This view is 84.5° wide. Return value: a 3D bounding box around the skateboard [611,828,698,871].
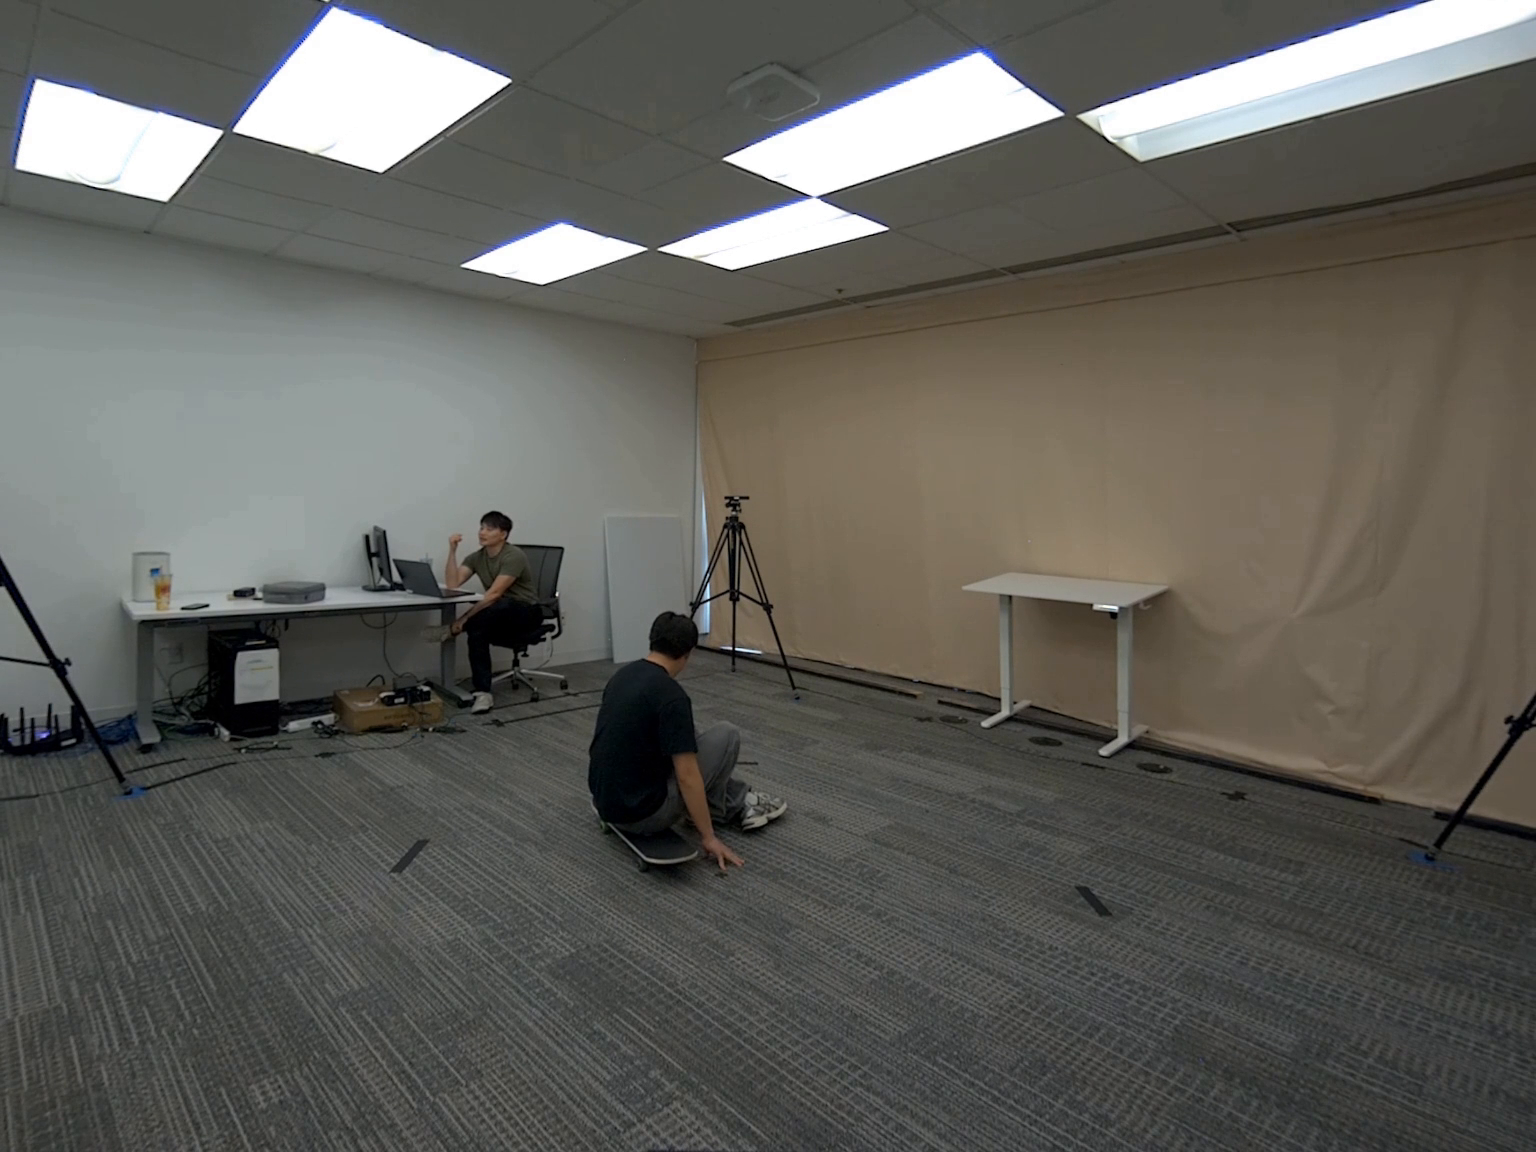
[{"bbox_3d":[-0.513,1.022,3.339,0.190,0.110,0.803,-6,8,-30],"label":"skateboard"}]
